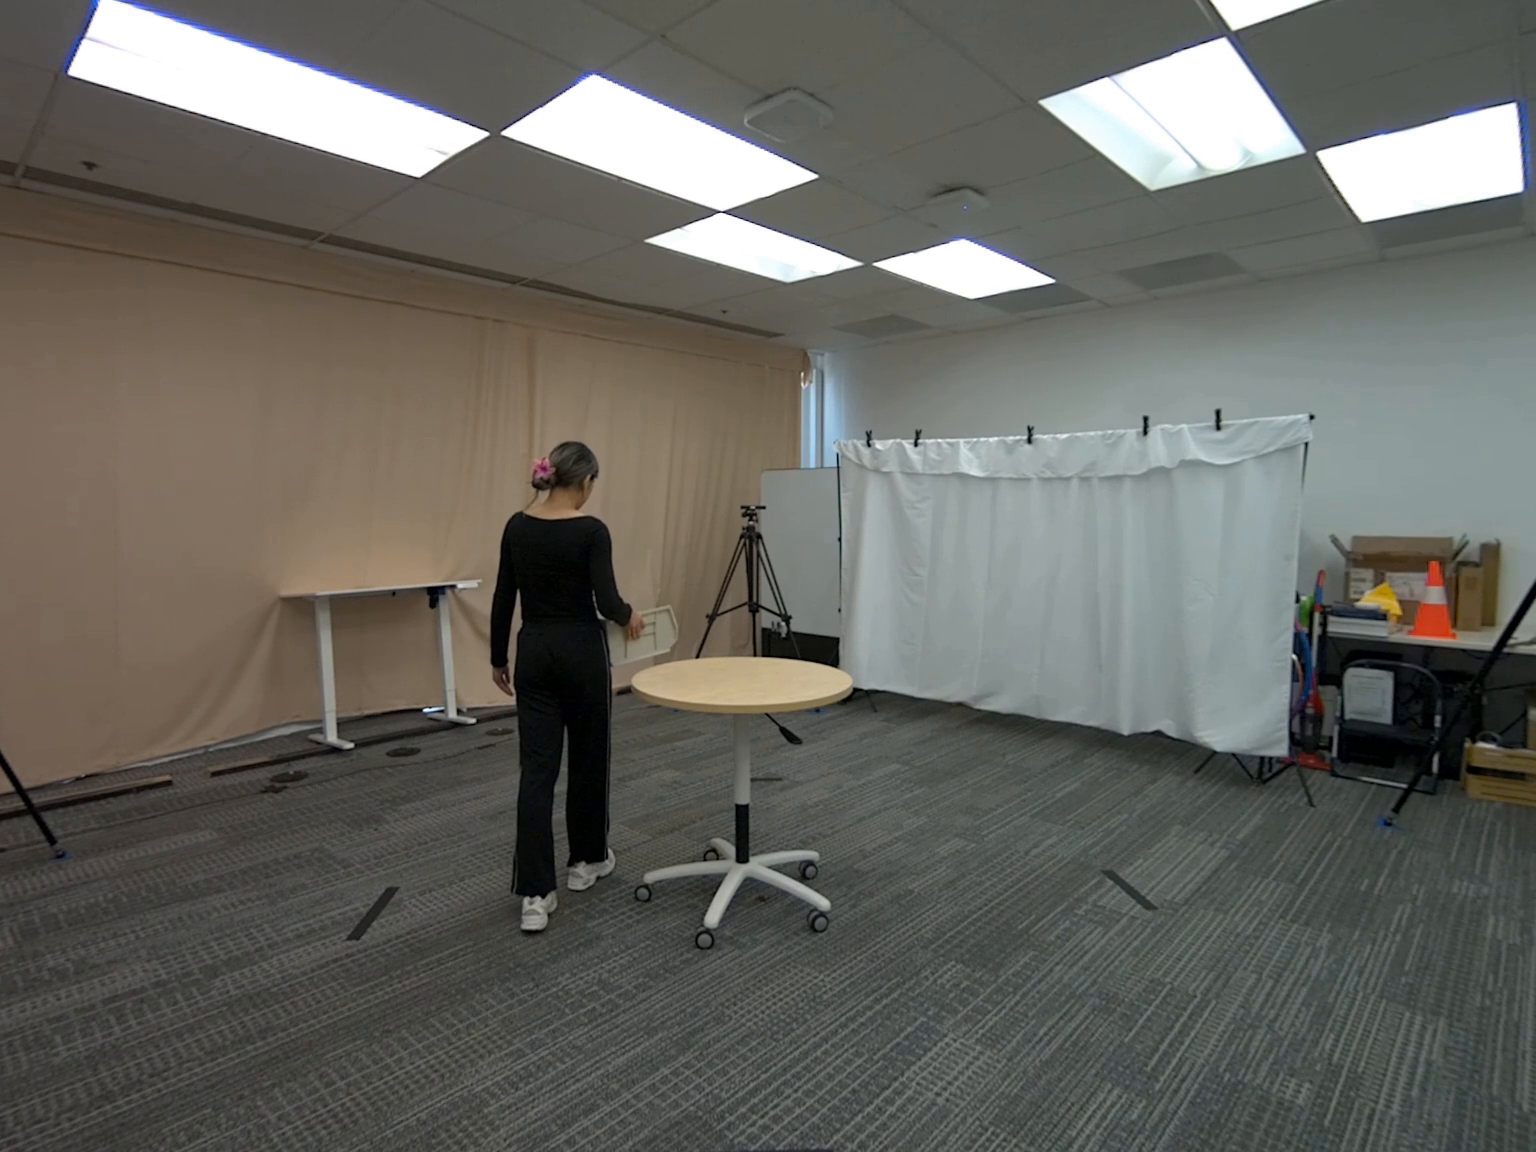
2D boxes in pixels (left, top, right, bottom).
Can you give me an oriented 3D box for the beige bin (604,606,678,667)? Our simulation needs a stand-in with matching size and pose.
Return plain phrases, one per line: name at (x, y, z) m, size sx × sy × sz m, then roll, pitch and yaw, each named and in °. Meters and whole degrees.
beige bin at (-0.633, 0.219, 3.304) m, size 0.435 × 0.188 × 0.367 m, roll 1°, pitch 7°, yaw 36°
